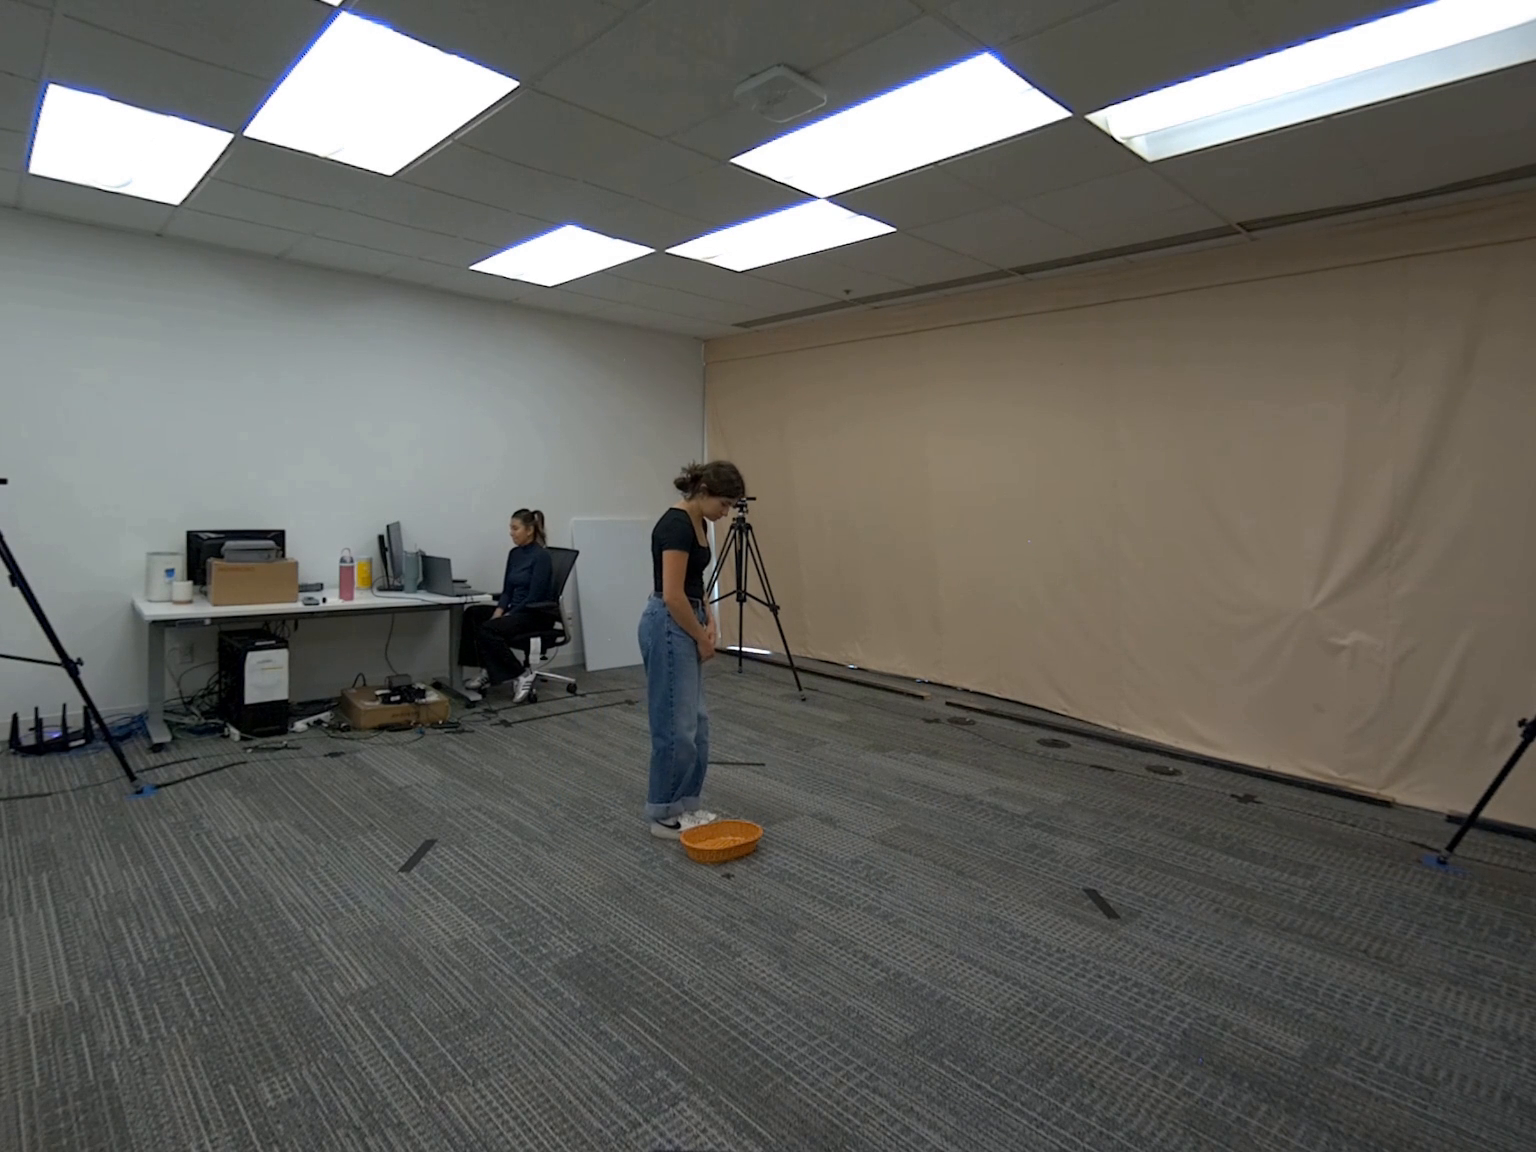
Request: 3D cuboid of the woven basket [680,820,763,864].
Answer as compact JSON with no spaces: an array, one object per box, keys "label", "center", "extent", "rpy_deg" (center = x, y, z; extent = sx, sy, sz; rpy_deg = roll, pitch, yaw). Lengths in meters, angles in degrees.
[{"label":"woven basket","center":[-0.191,1.045,3.320],"extent":[0.343,0.073,0.258],"rpy_deg":[-3,6,-34]}]
